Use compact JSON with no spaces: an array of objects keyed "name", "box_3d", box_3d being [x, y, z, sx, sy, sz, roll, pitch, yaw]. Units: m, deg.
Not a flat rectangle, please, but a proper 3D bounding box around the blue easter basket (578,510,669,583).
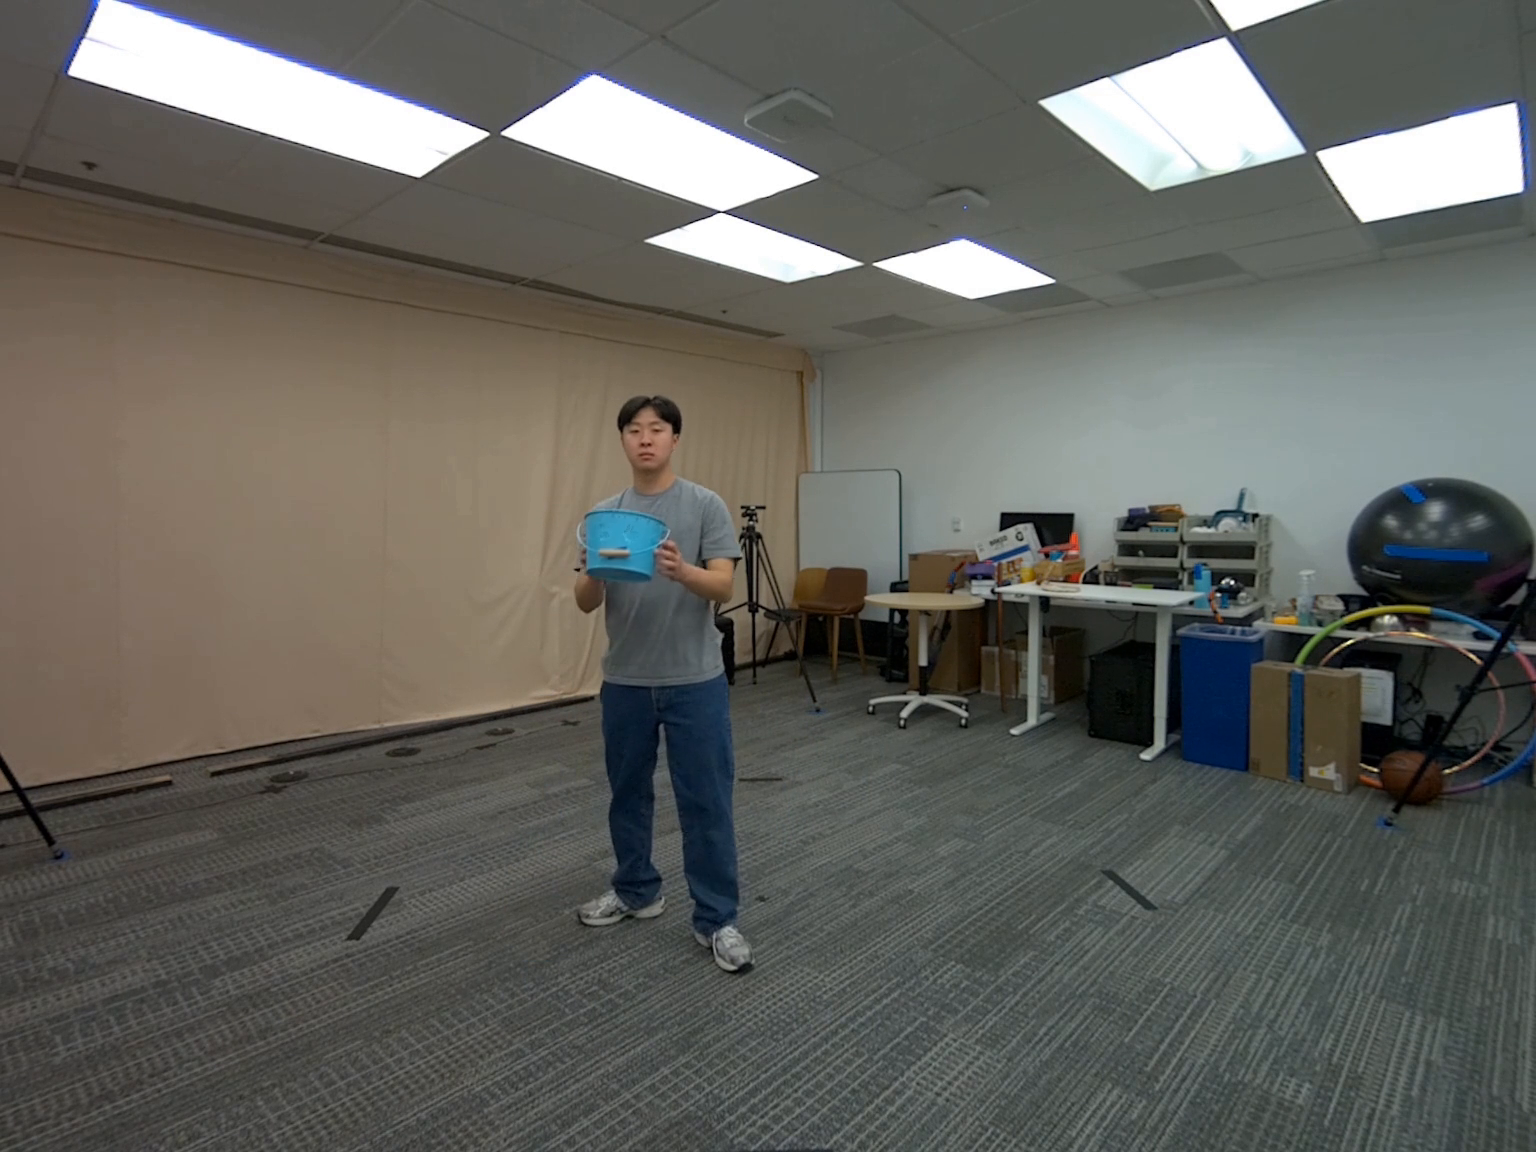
[{"name":"blue easter basket","box_3d":[-0.412,-0.070,2.313,0.244,0.157,0.242,4,-12,-1]}]
